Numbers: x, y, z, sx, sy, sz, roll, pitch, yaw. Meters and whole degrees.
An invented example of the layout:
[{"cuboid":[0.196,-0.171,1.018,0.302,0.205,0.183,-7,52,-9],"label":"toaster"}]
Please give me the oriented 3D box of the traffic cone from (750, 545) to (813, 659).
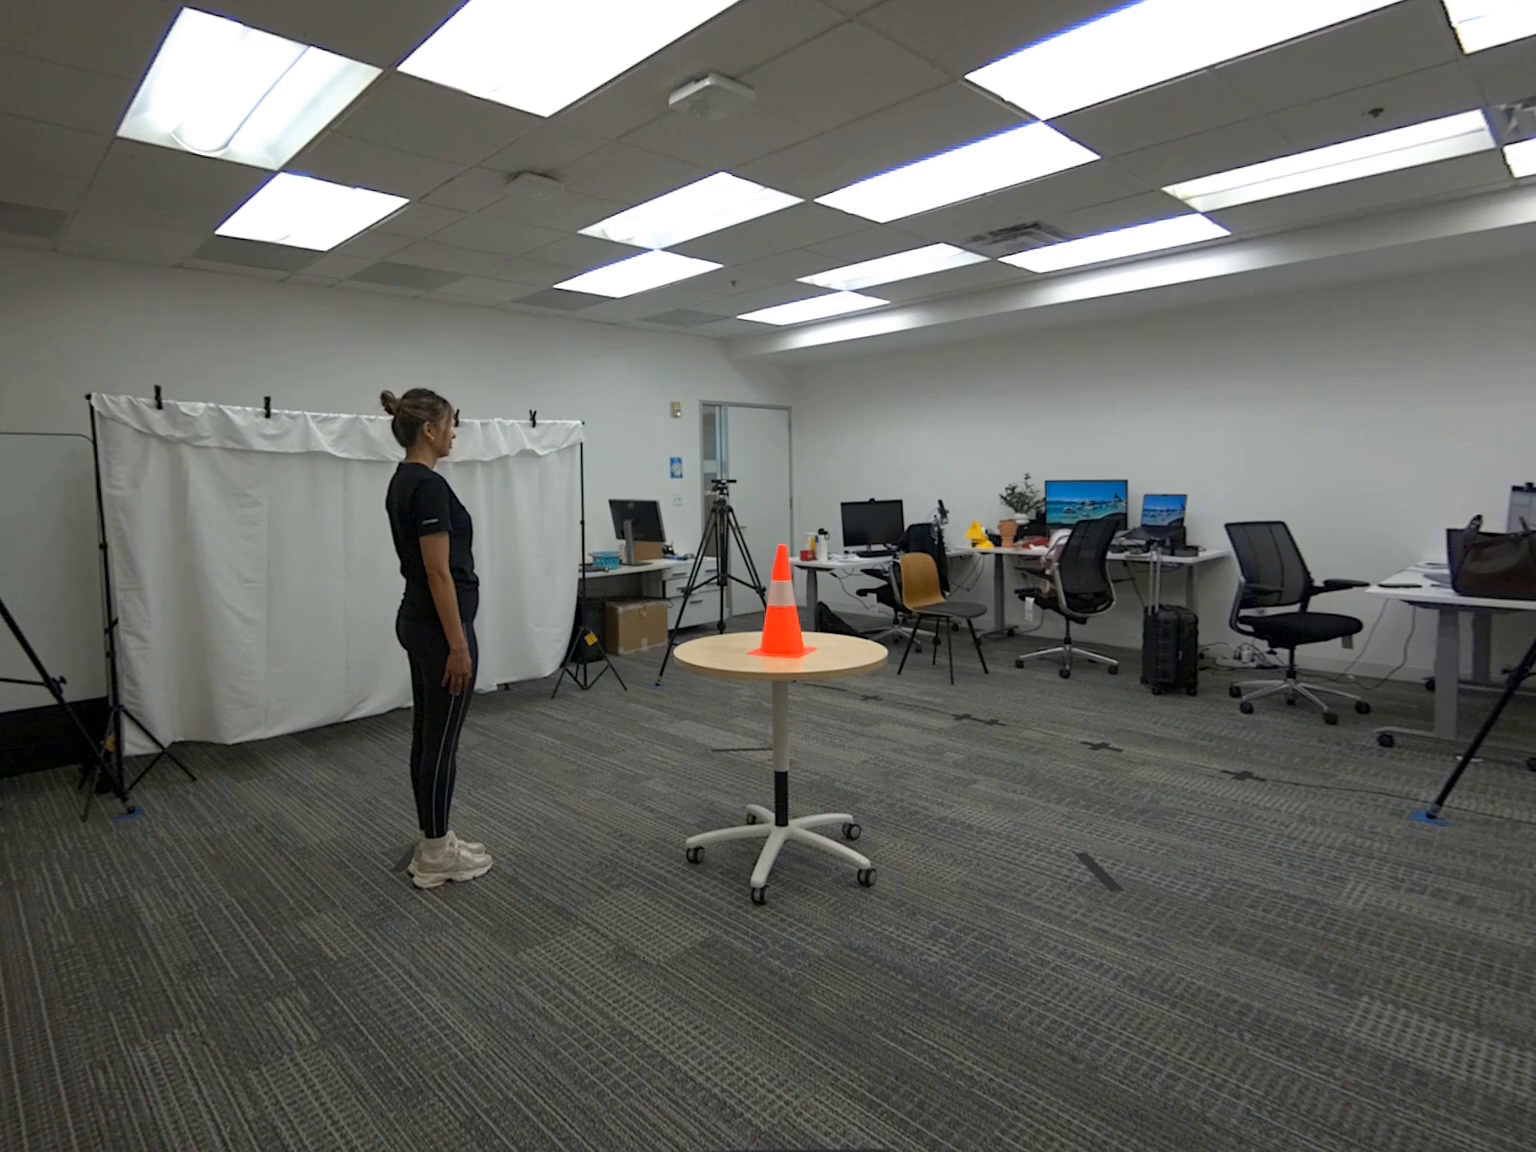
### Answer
[{"cuboid":[0.048,0.085,3.030,0.209,0.382,0.200,2,5,23],"label":"traffic cone"}]
